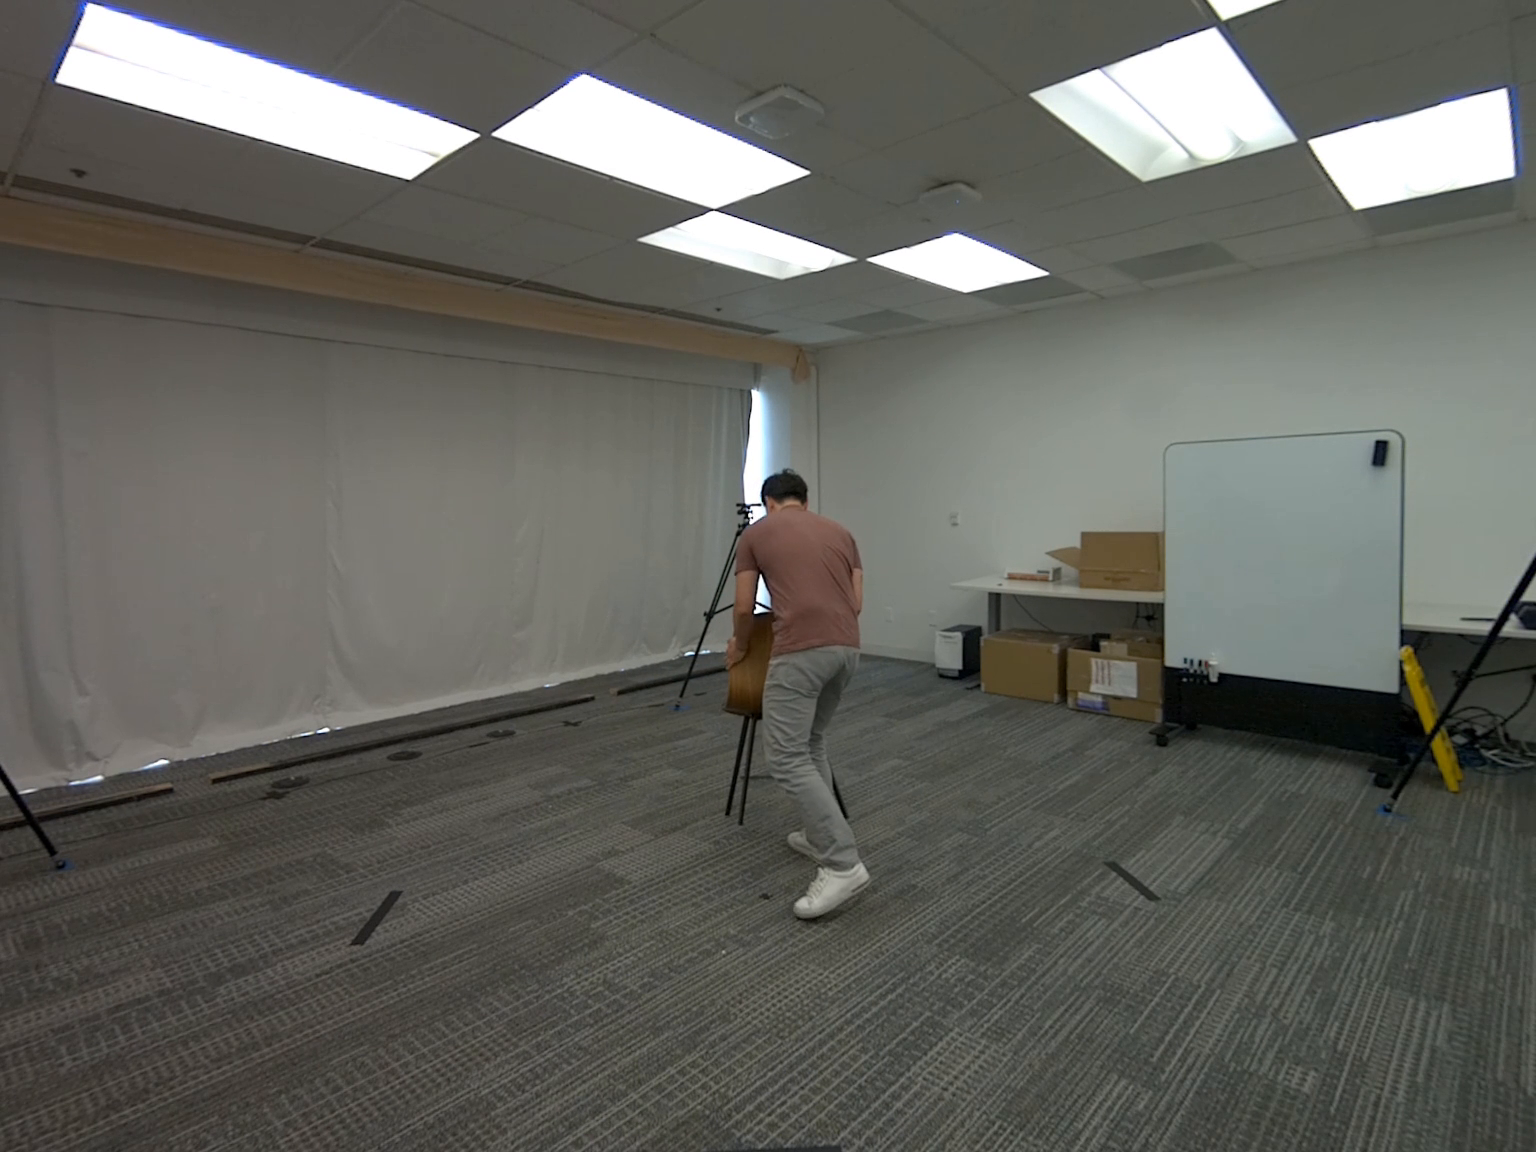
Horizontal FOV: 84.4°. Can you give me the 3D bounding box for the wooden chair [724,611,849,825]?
[{"bbox_3d":[0.037,0.609,3.665,0.475,0.882,0.524,-2,-7,-8],"label":"wooden chair"}]
